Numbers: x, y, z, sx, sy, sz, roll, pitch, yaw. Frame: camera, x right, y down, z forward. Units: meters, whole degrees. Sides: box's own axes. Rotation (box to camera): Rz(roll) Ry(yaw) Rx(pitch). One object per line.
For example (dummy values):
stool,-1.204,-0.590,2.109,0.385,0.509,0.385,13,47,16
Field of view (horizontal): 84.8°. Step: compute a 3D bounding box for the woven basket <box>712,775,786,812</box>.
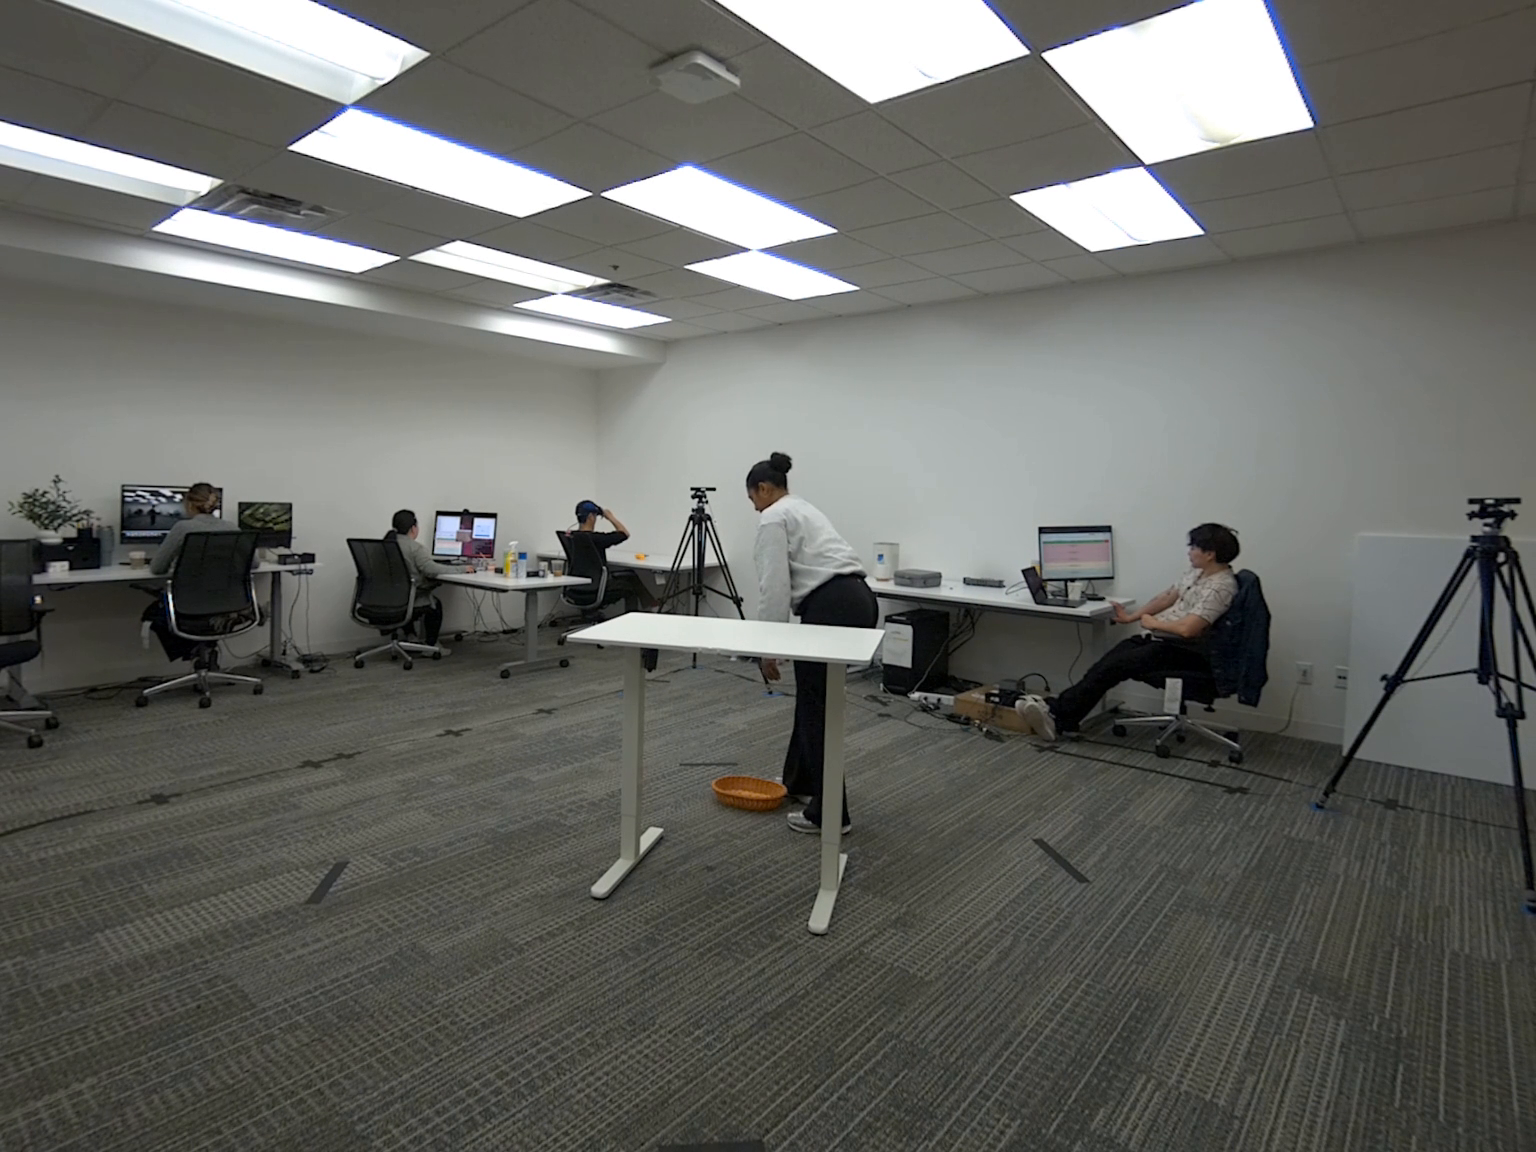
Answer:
woven basket,-0.095,0.964,3.779,0.360,0.073,0.246,4,6,27
